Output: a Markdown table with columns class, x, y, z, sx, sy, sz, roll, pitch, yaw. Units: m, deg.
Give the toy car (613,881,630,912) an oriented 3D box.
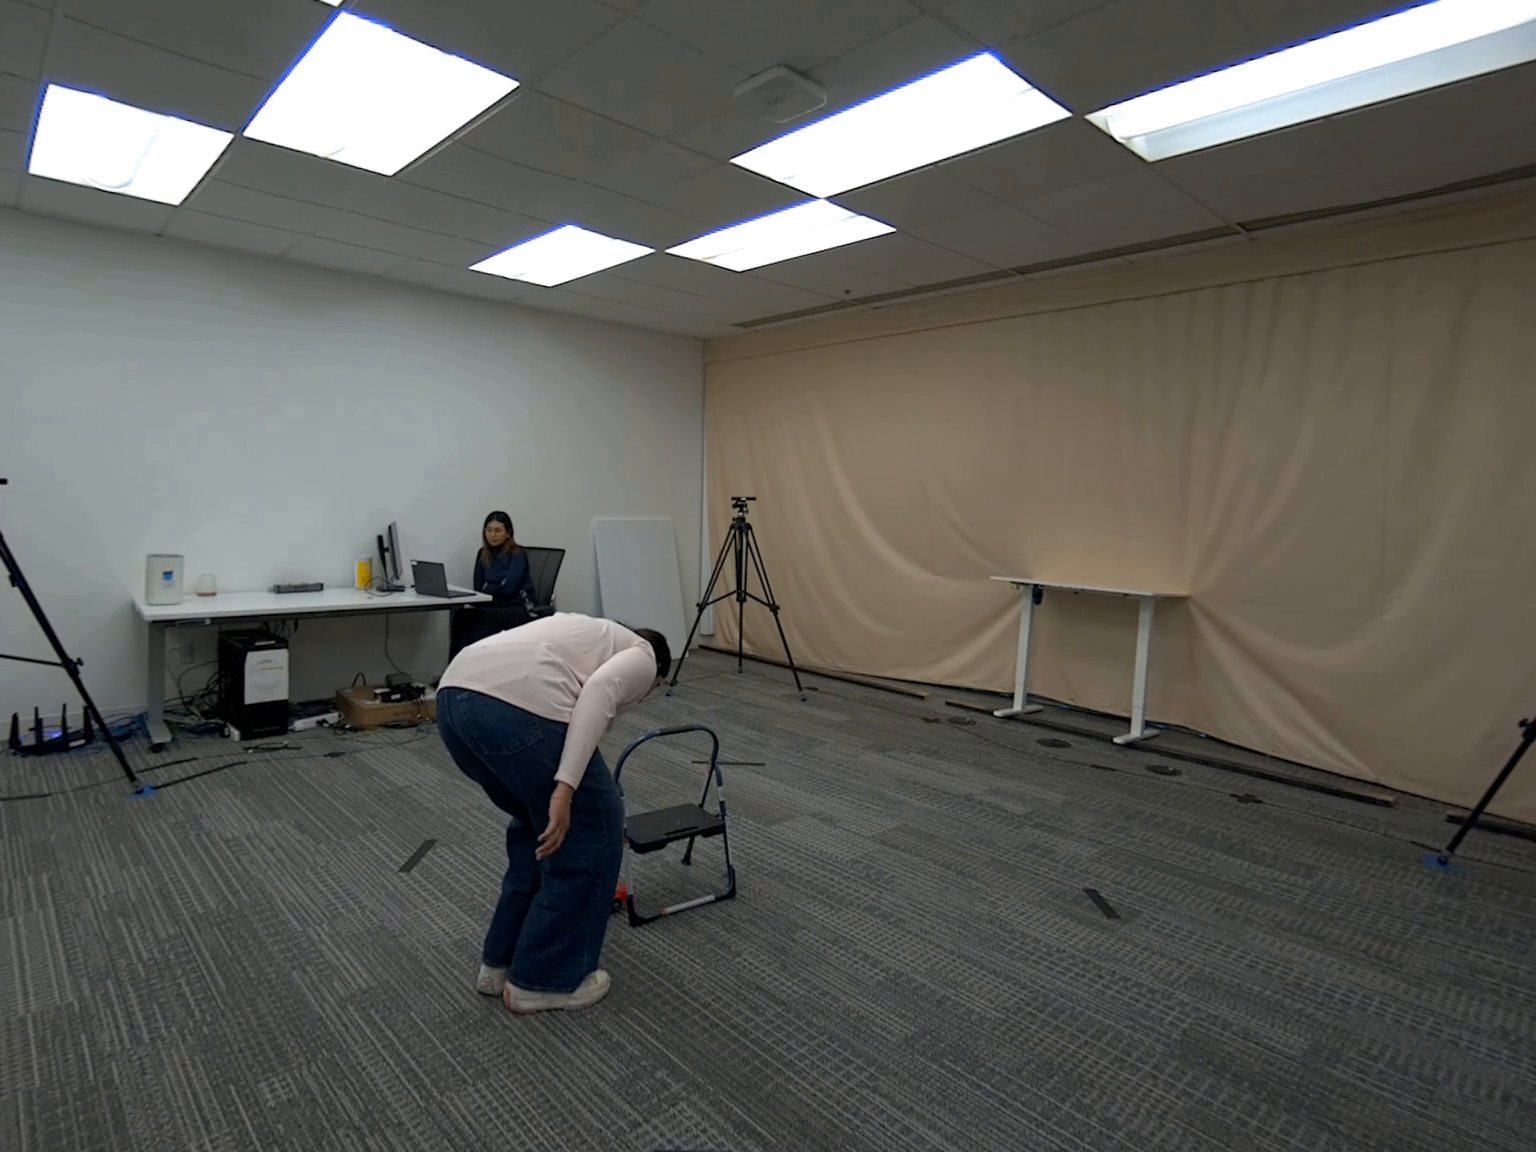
| class | x | y | z | sx | sy | sz | roll | pitch | yaw |
| --- | --- | --- | --- | --- | --- | --- | --- | --- | --- |
| toy car | -0.590 | 1.099 | 2.805 | 0.134 | 0.082 | 0.250 | 7 | 19 | 44 |
